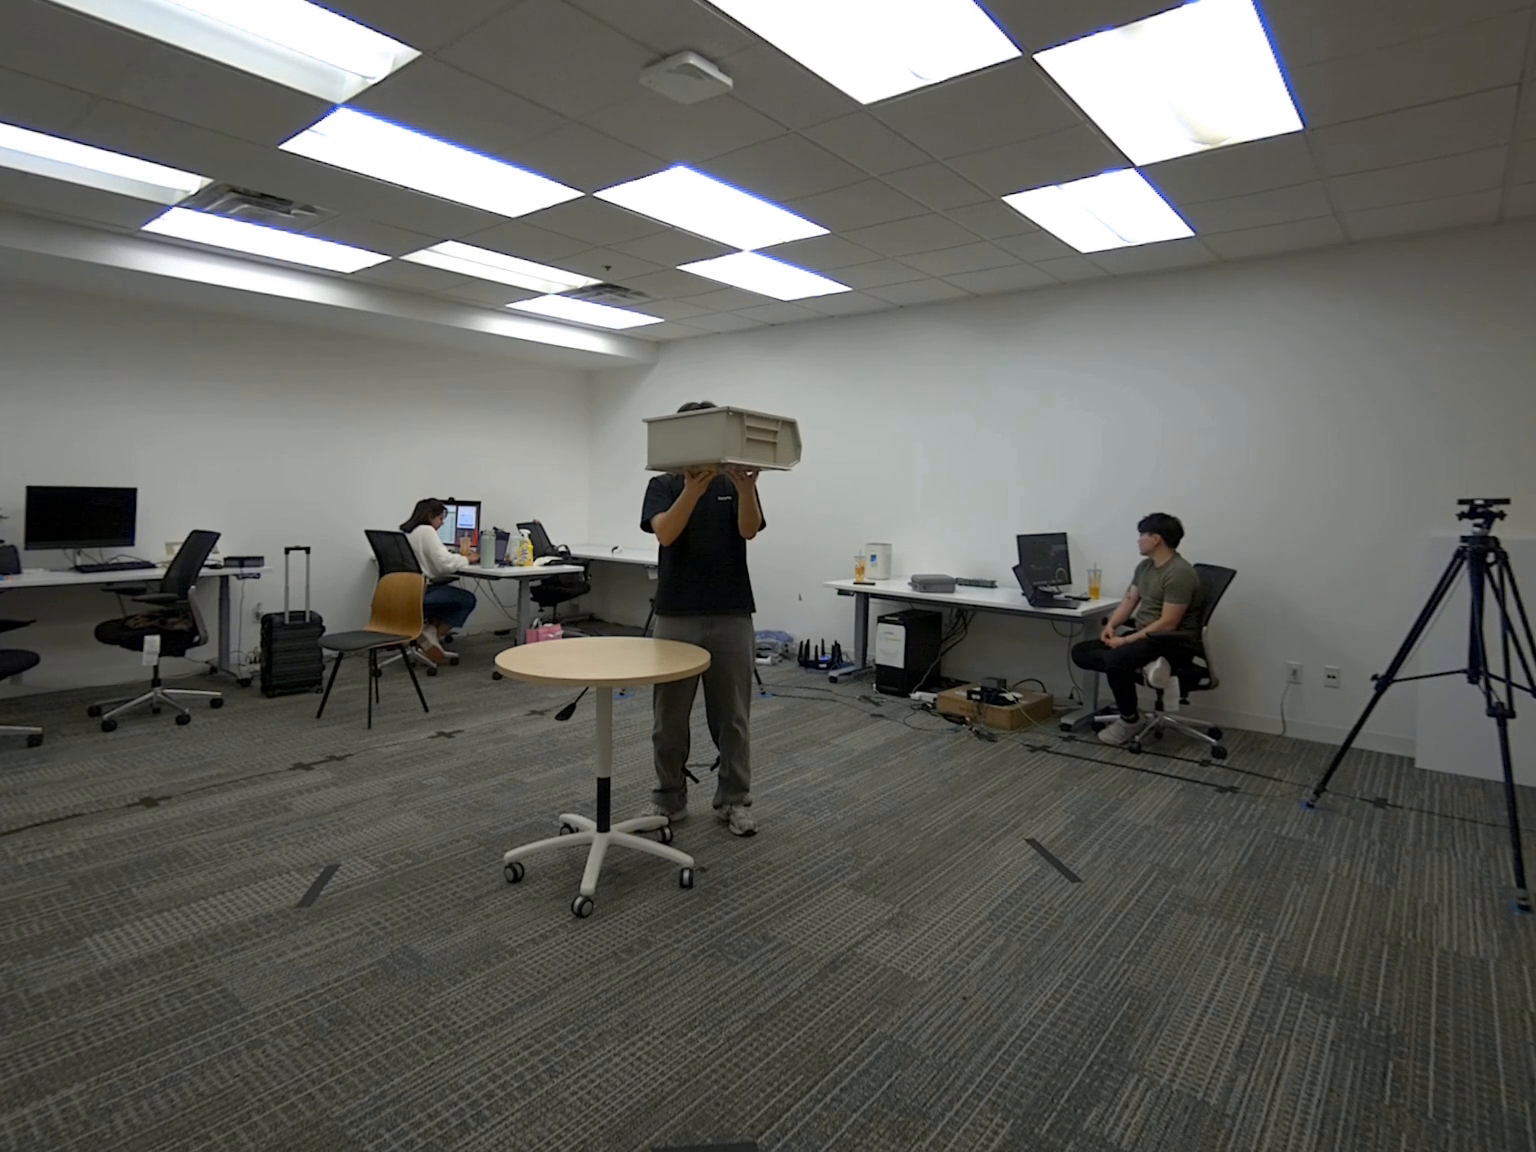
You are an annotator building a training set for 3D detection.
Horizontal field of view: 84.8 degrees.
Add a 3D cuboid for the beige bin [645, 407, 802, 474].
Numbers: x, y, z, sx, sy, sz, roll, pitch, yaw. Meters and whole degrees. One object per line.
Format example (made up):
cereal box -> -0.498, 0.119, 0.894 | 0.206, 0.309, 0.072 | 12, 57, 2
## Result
beige bin -> -0.172, -0.458, 2.965 | 0.436, 0.189, 0.365 | 2, 2, 43
